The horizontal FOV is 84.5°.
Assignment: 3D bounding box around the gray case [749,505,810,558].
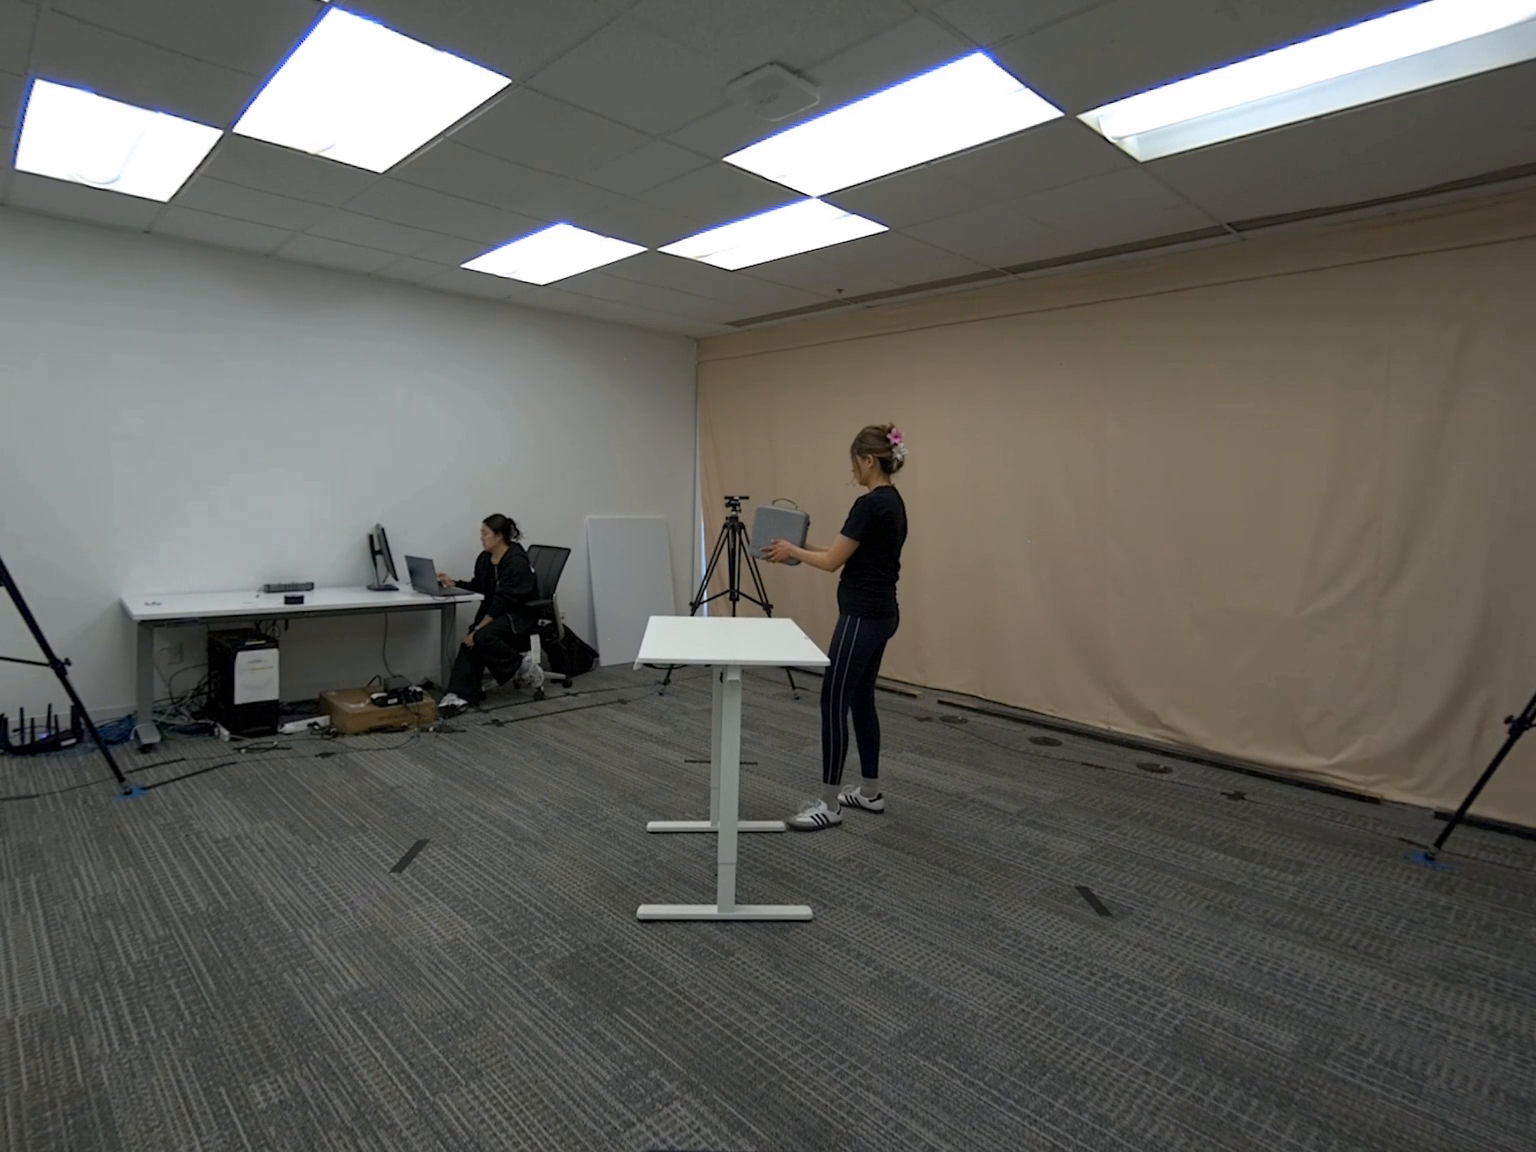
[{"bbox_3d":[0.043,-0.201,3.916,0.261,0.260,0.103,13,6,19],"label":"gray case"}]
